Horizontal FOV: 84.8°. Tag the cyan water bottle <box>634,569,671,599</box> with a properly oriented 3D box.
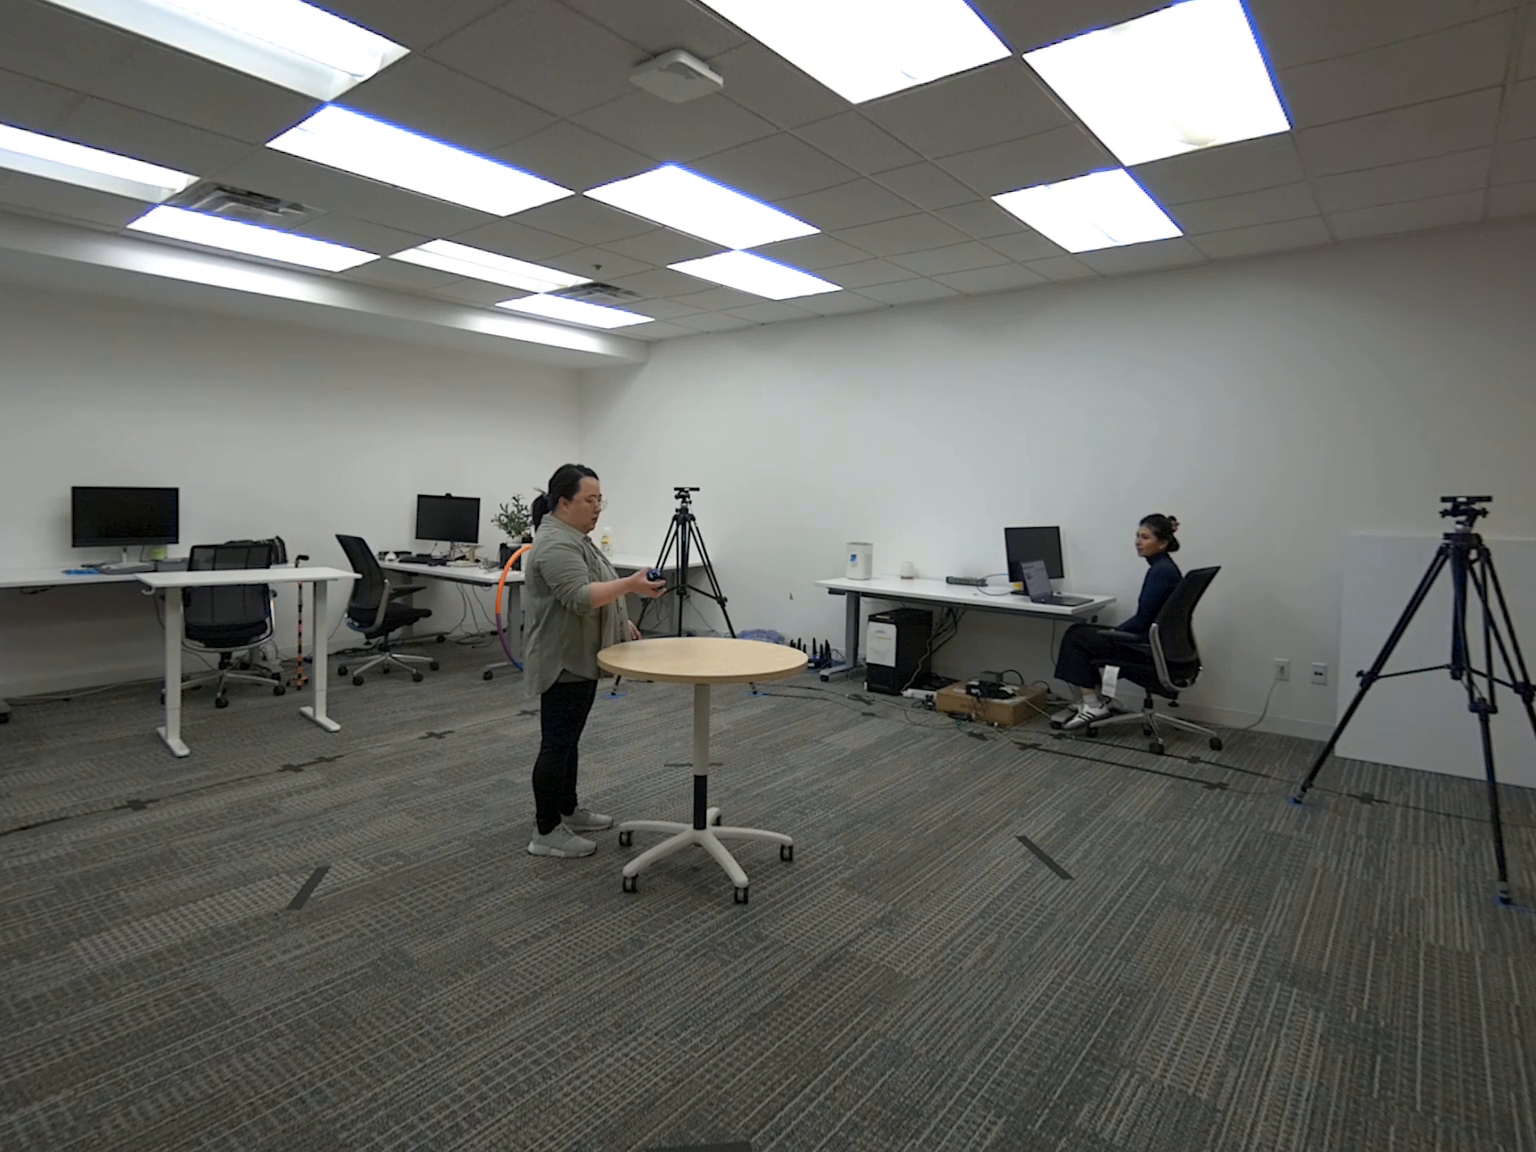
[{"bbox_3d":[-0.450,0.030,3.229,0.091,0.093,0.286,0,-5,-17],"label":"cyan water bottle"}]
